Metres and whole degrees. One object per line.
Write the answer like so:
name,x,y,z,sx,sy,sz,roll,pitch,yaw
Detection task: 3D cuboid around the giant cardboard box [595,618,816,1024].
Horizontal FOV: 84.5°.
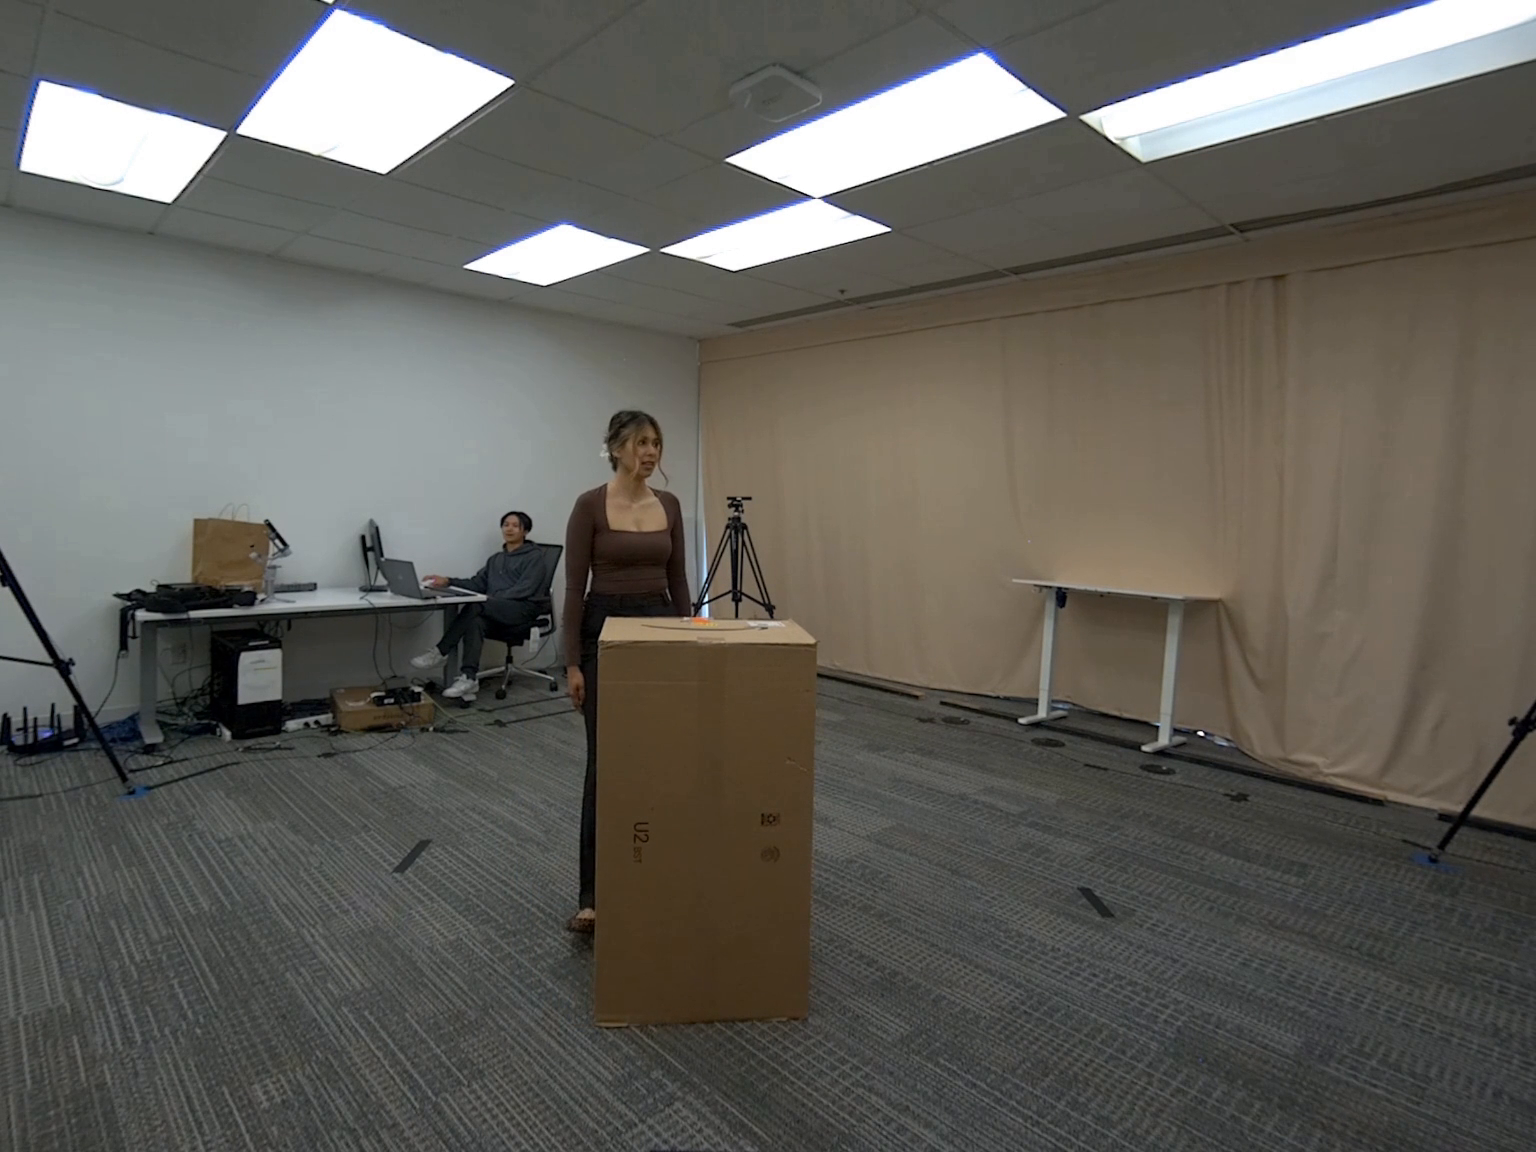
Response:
giant cardboard box,-0.196,0.656,2.406,0.581,1.025,0.450,1,3,-7
